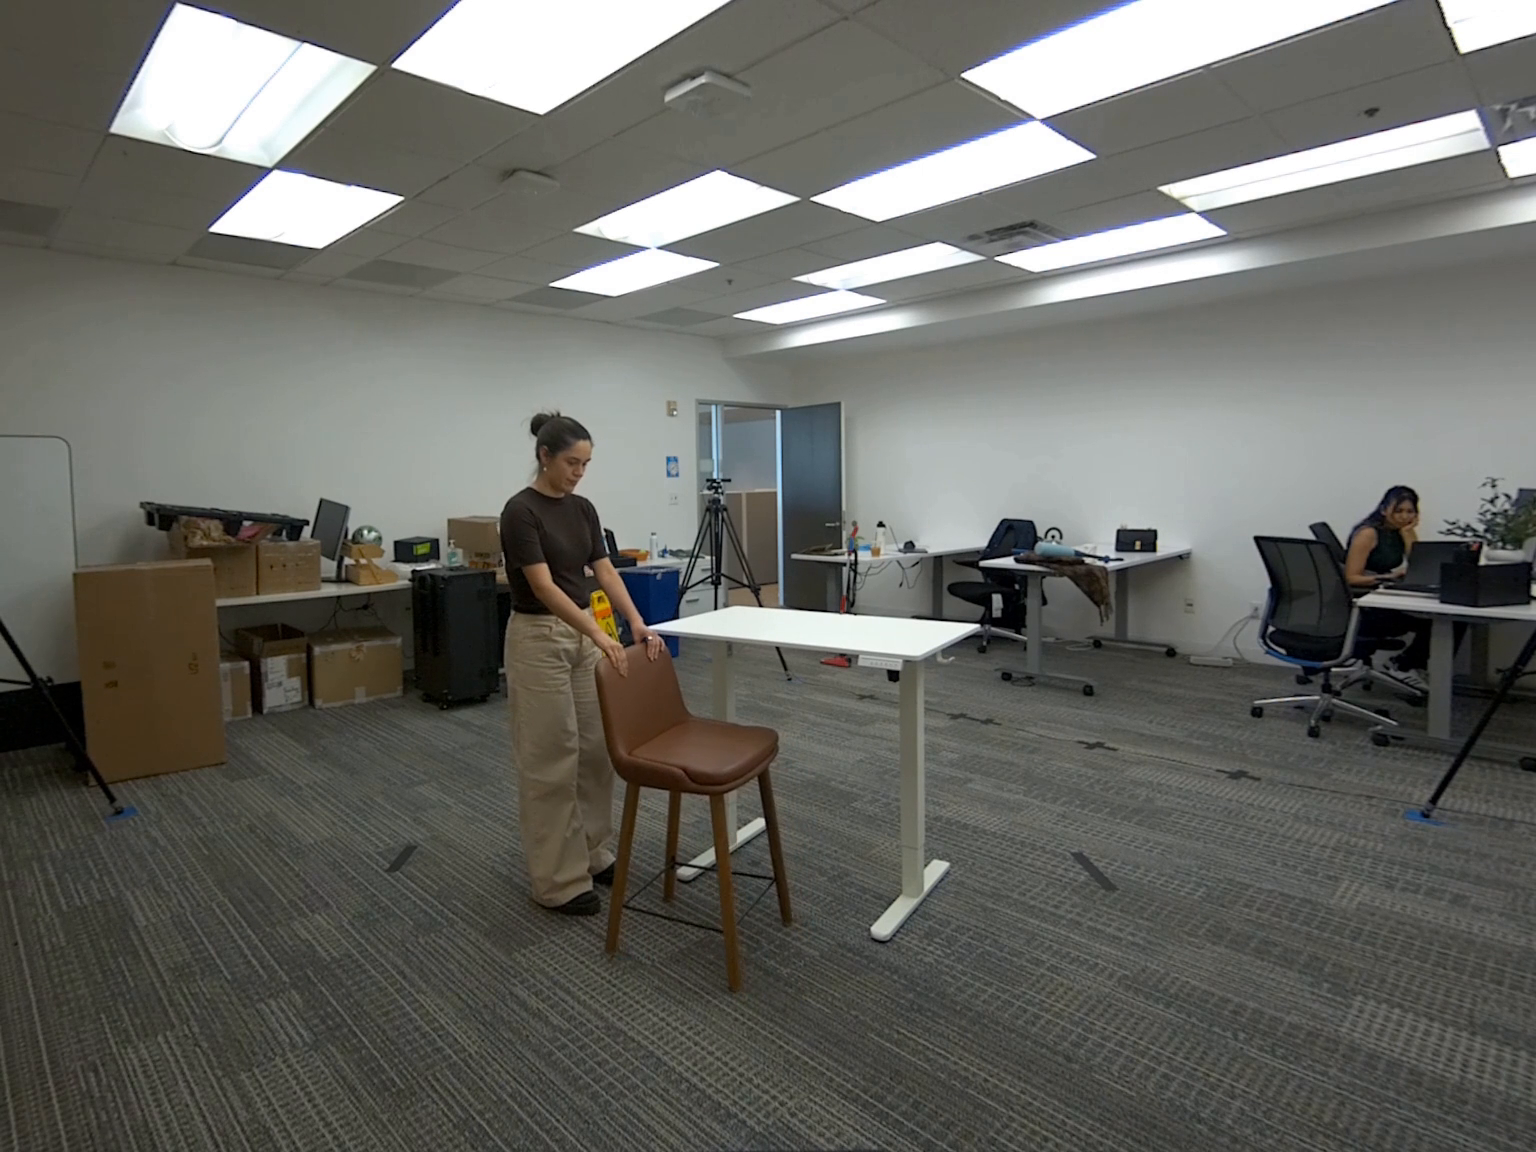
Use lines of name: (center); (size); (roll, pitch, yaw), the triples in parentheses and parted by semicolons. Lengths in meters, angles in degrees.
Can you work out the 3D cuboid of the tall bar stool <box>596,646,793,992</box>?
tall bar stool: (-0.226, 0.676, 2.579); (0.478, 0.887, 0.448); (-2, 3, 26)
